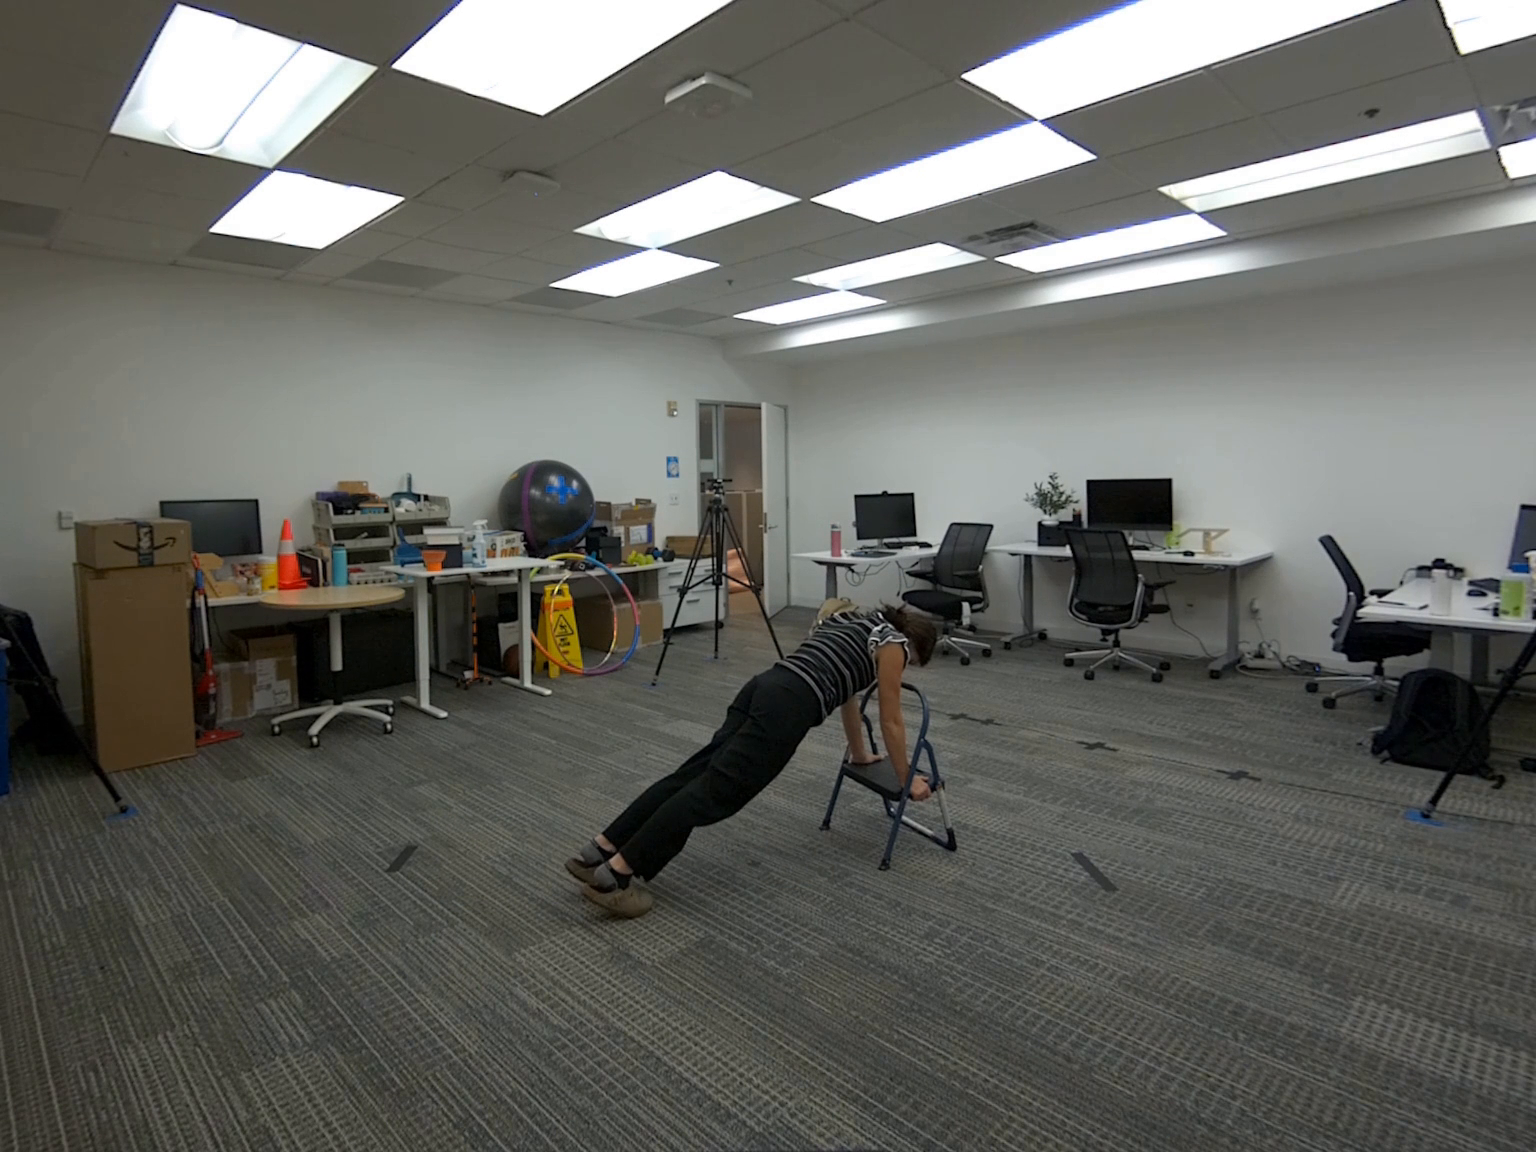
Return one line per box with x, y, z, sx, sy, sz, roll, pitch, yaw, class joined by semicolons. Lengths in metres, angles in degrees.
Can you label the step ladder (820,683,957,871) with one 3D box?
0.456;0.716;3.280;0.341;0.604;0.442;-2;5;-28;step ladder
